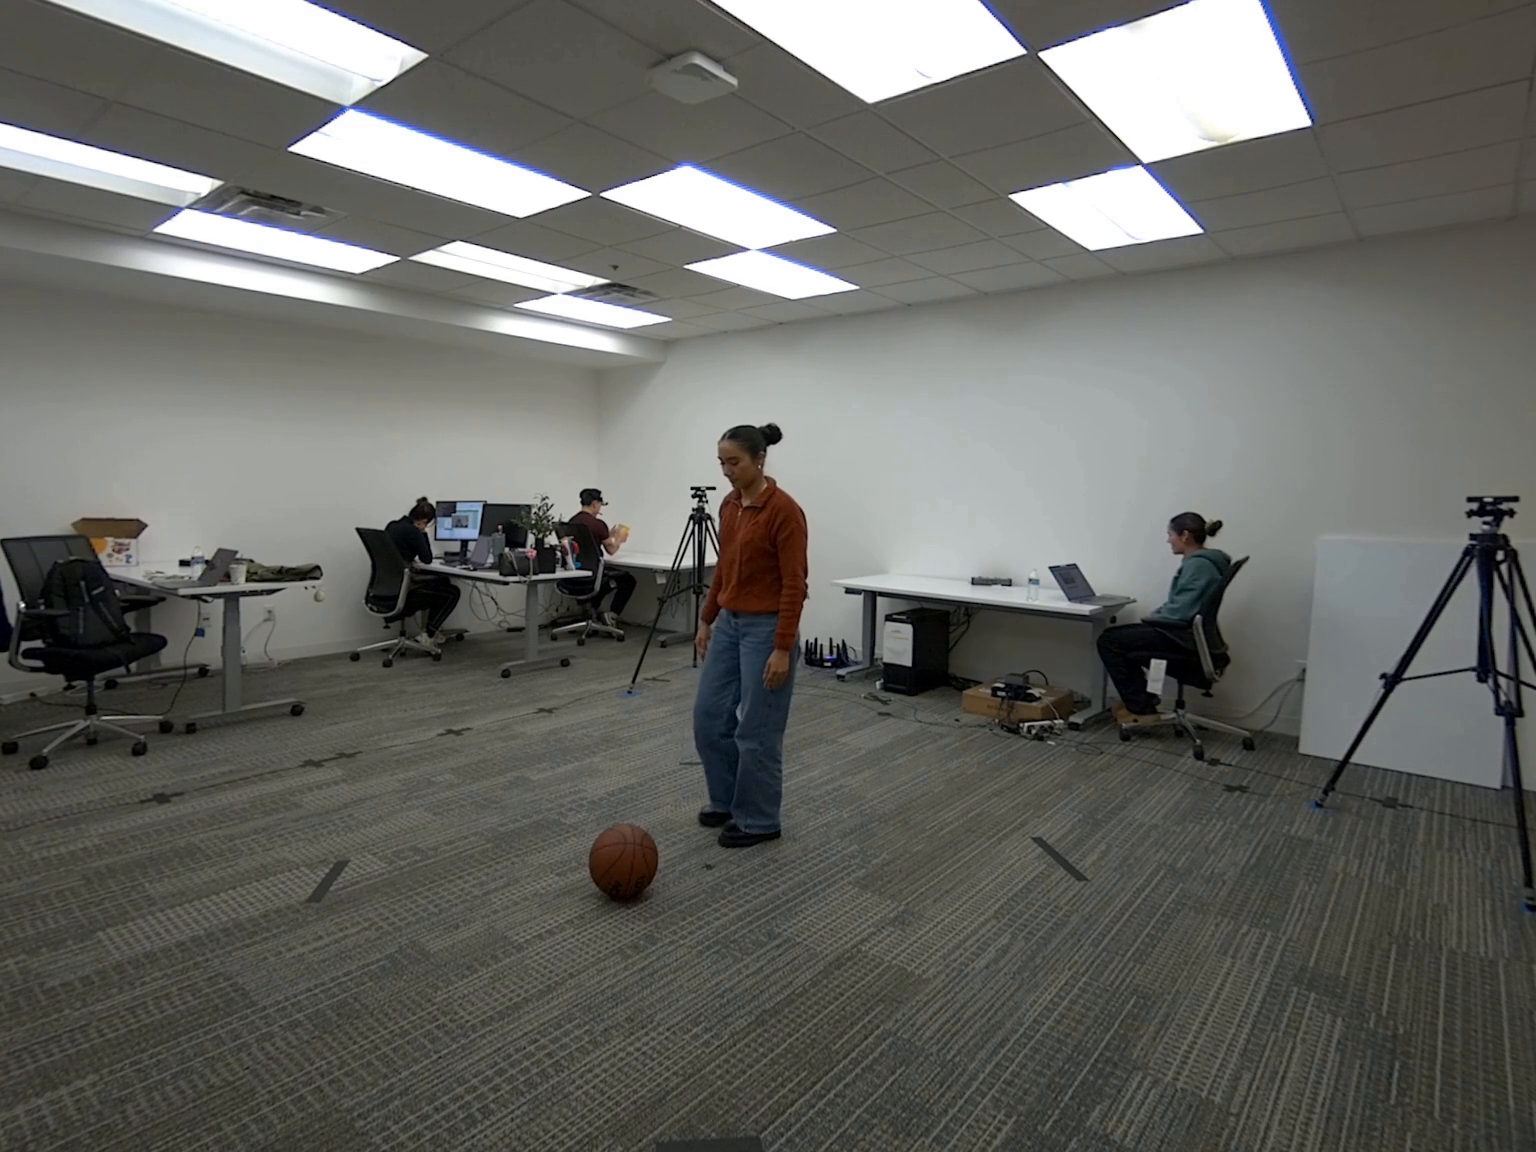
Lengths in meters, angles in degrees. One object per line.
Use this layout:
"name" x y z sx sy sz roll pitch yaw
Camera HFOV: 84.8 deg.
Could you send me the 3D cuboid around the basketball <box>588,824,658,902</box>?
"basketball" -0.501 0.957 2.888 0.235 0.235 0.237 1 4 -2
